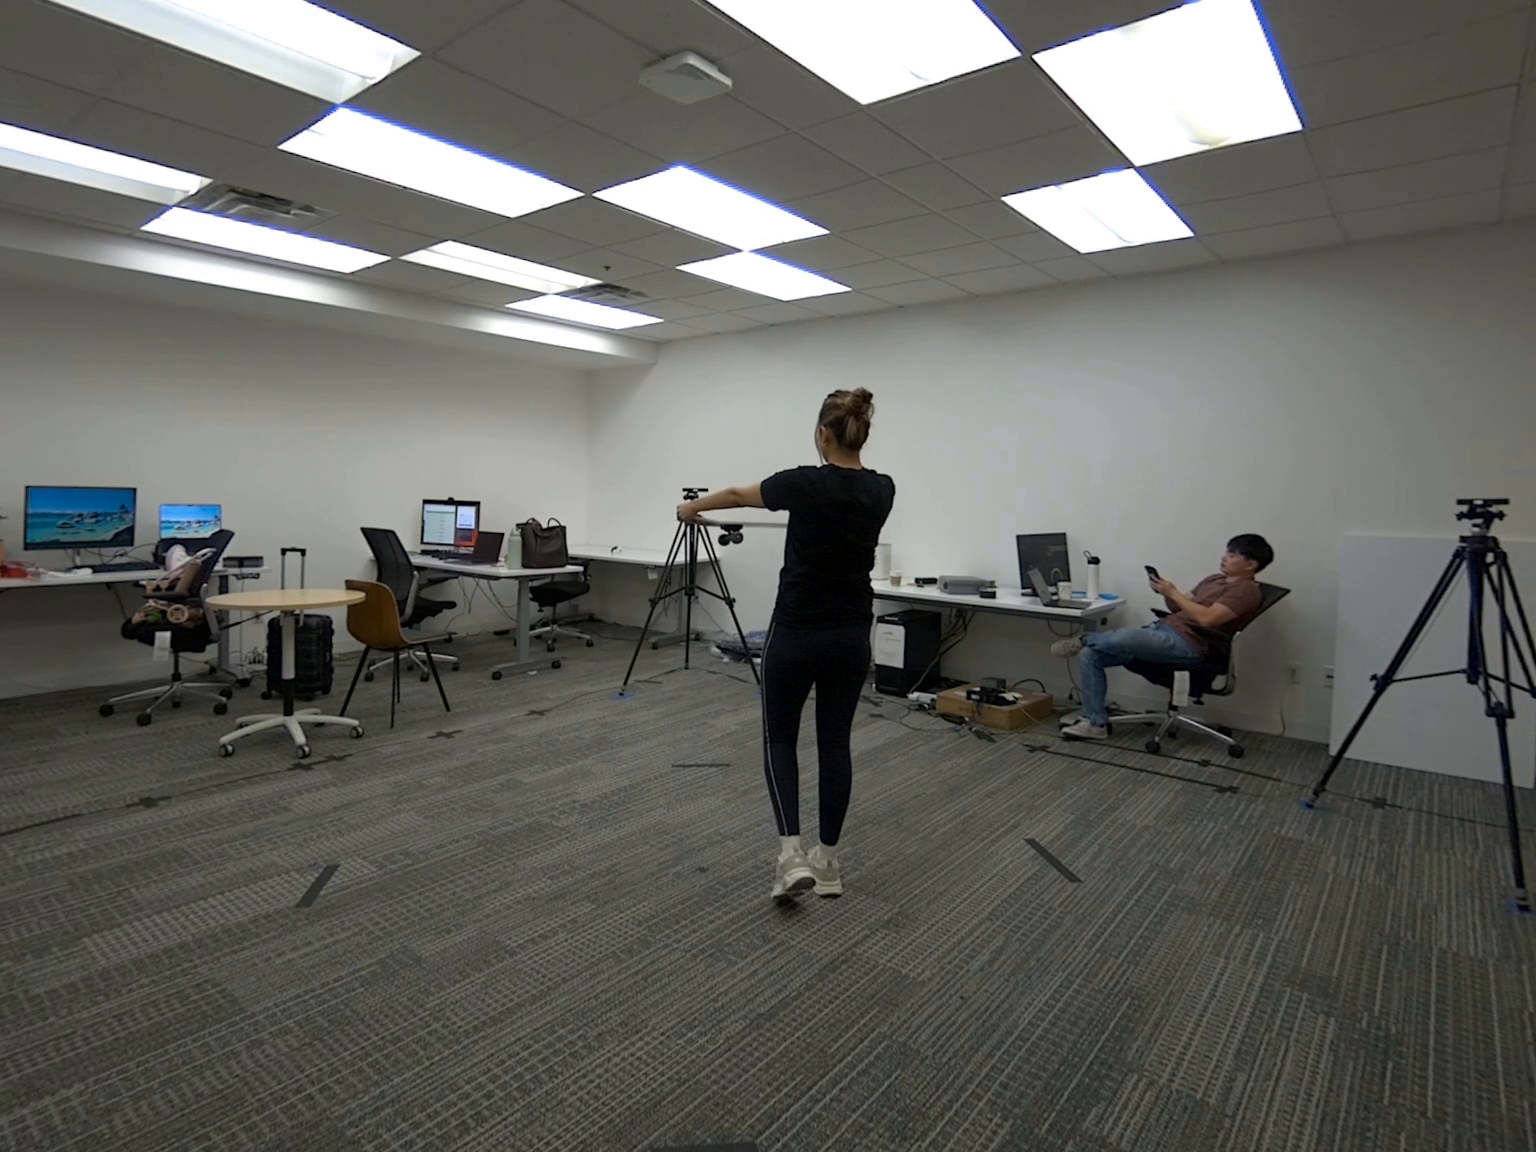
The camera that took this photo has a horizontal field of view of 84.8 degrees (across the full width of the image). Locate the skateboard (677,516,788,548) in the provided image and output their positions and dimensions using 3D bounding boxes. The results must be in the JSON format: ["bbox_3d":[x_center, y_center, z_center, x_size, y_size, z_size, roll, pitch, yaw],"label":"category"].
[{"bbox_3d":[0.033,-0.177,3.450,0.771,0.110,0.196,0,0,-17],"label":"skateboard"}]
